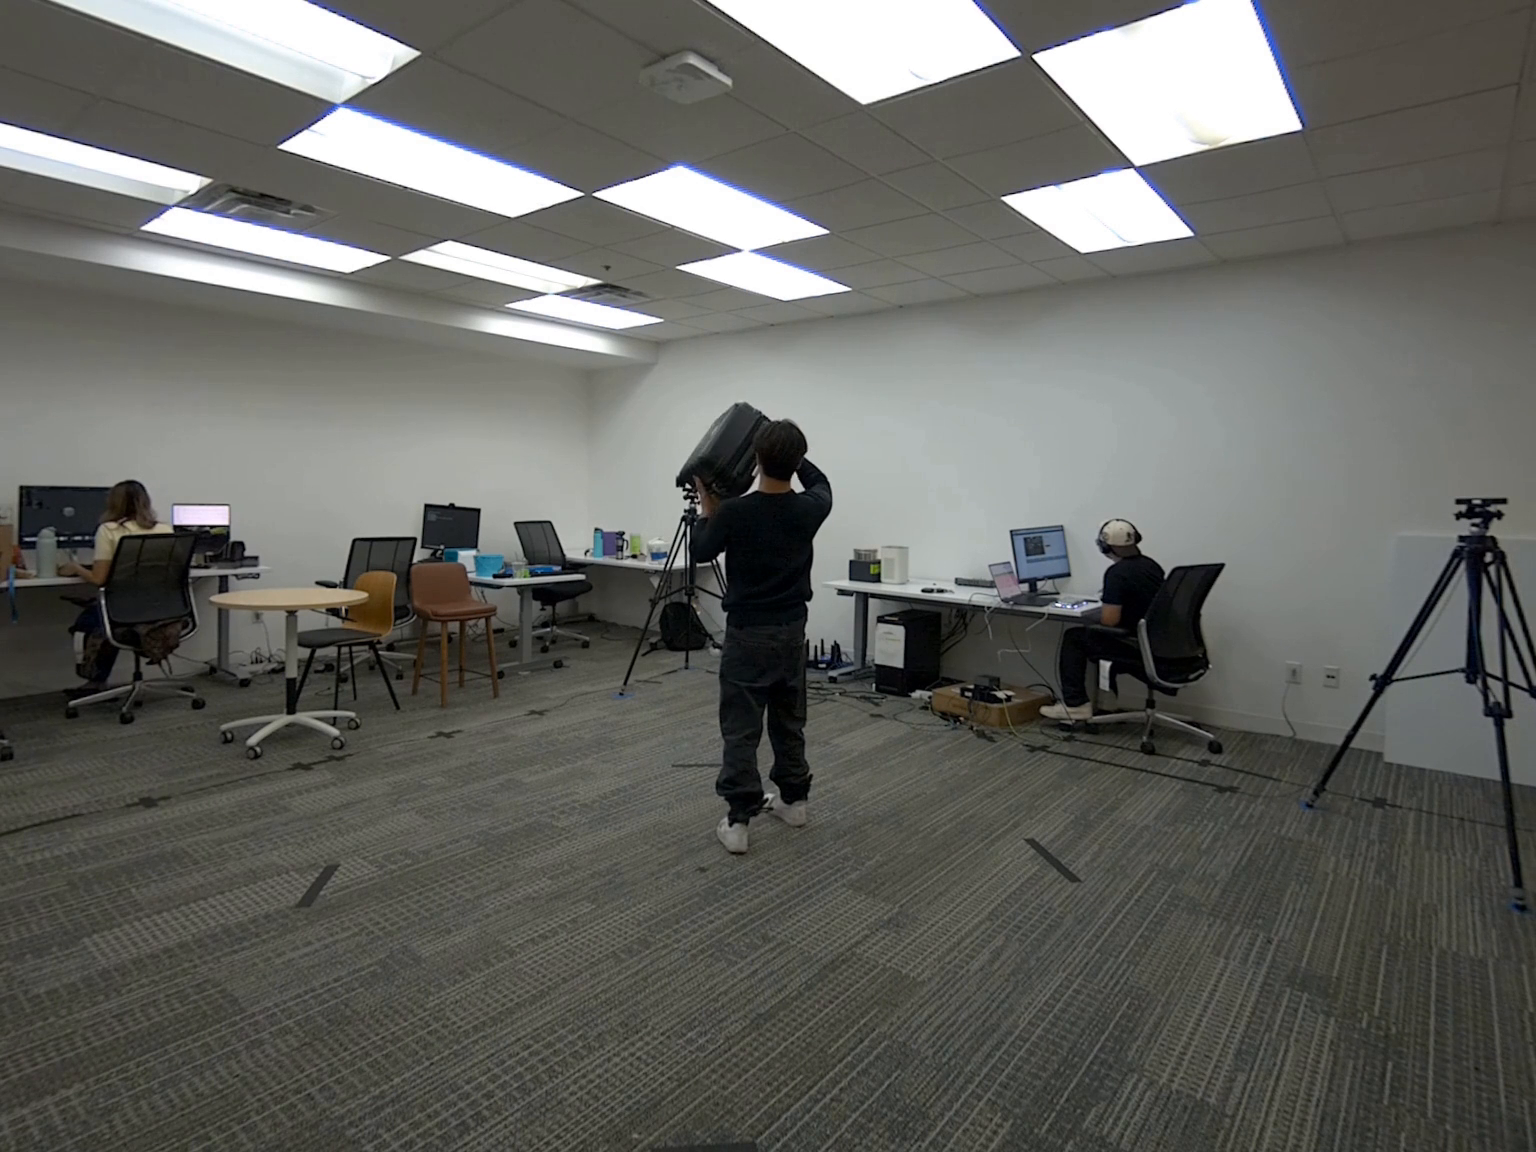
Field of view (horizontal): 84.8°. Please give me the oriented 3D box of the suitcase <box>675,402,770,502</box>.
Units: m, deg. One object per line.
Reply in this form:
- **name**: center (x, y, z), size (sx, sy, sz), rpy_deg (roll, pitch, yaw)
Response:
- **suitcase**: center (-0.183, -0.527, 3.709), size (0.245, 0.376, 0.555), rpy_deg (35, -11, -11)
